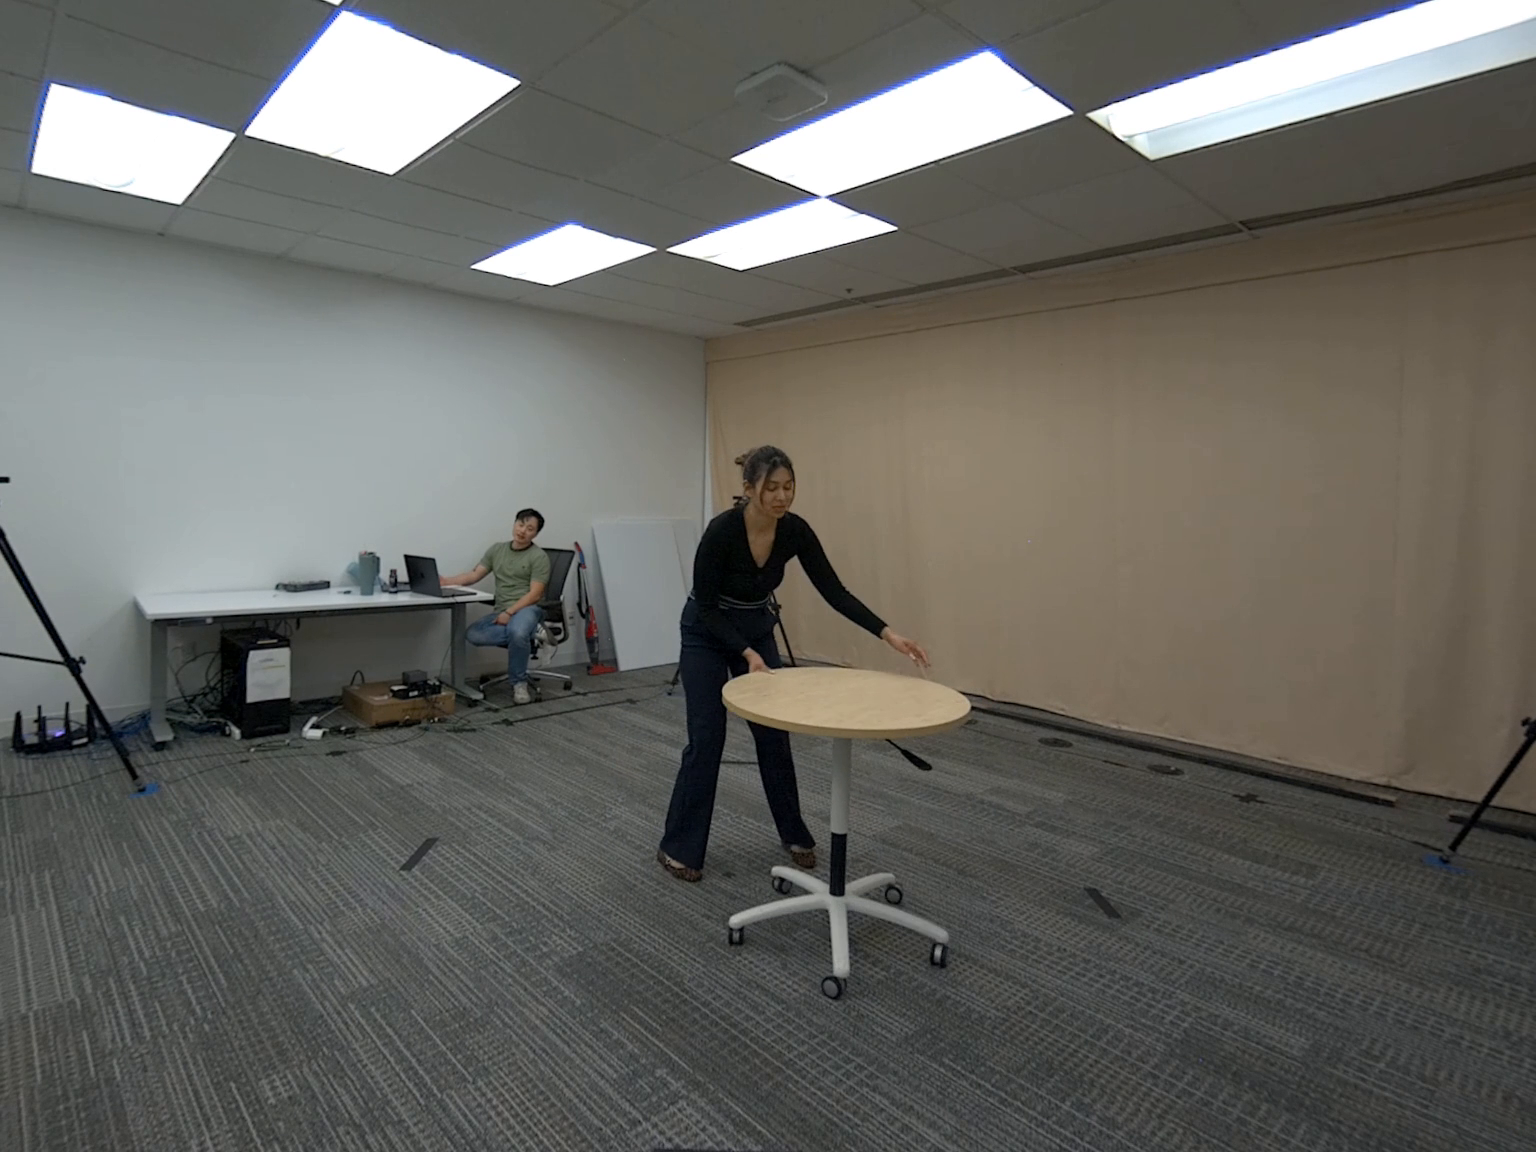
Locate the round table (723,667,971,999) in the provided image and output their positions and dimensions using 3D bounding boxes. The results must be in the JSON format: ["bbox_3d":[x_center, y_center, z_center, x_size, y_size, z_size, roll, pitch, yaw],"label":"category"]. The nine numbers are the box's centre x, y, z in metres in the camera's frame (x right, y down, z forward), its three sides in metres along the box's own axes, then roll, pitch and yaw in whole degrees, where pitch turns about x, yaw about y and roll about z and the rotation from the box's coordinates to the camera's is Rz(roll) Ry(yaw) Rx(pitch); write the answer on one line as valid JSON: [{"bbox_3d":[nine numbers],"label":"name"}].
[{"bbox_3d":[0.223,0.764,2.655,0.763,0.792,0.767,2,4,-1],"label":"round table"}]
